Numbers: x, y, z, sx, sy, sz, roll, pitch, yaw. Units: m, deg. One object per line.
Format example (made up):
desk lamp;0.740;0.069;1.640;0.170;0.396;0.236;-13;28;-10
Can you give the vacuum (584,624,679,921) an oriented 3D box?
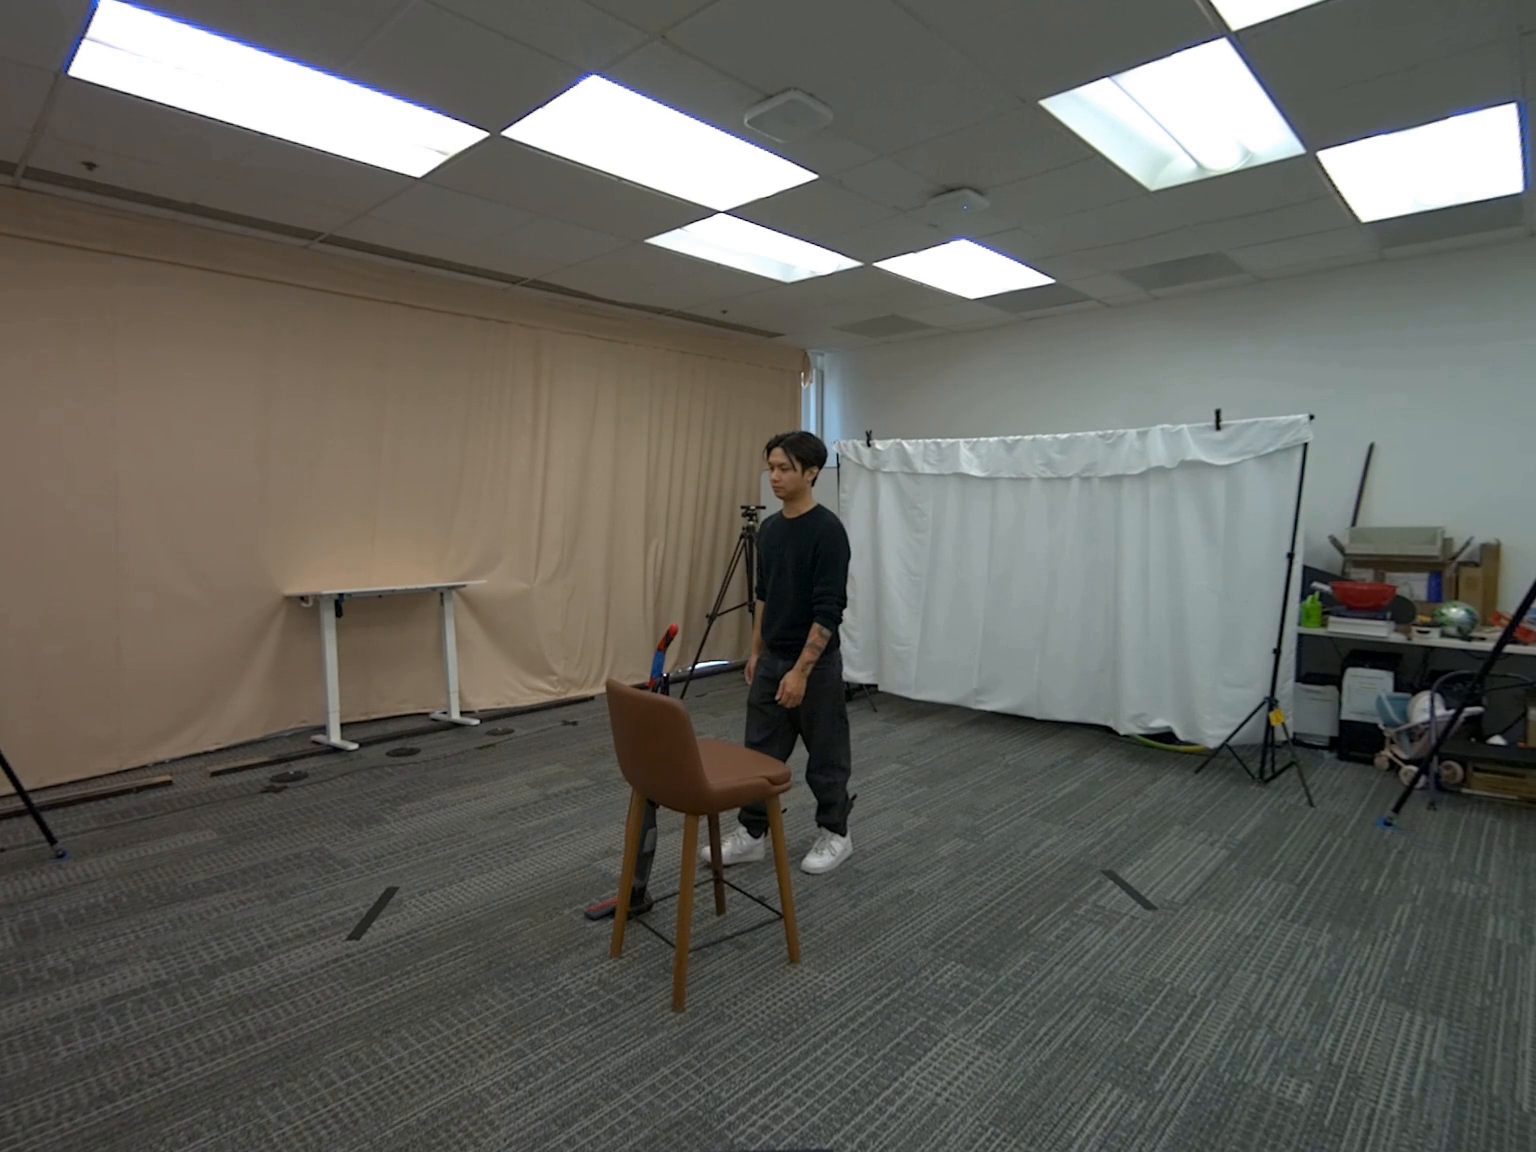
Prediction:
vacuum;-0.401;0.657;2.773;0.245;1.043;0.149;-2;18;-45
